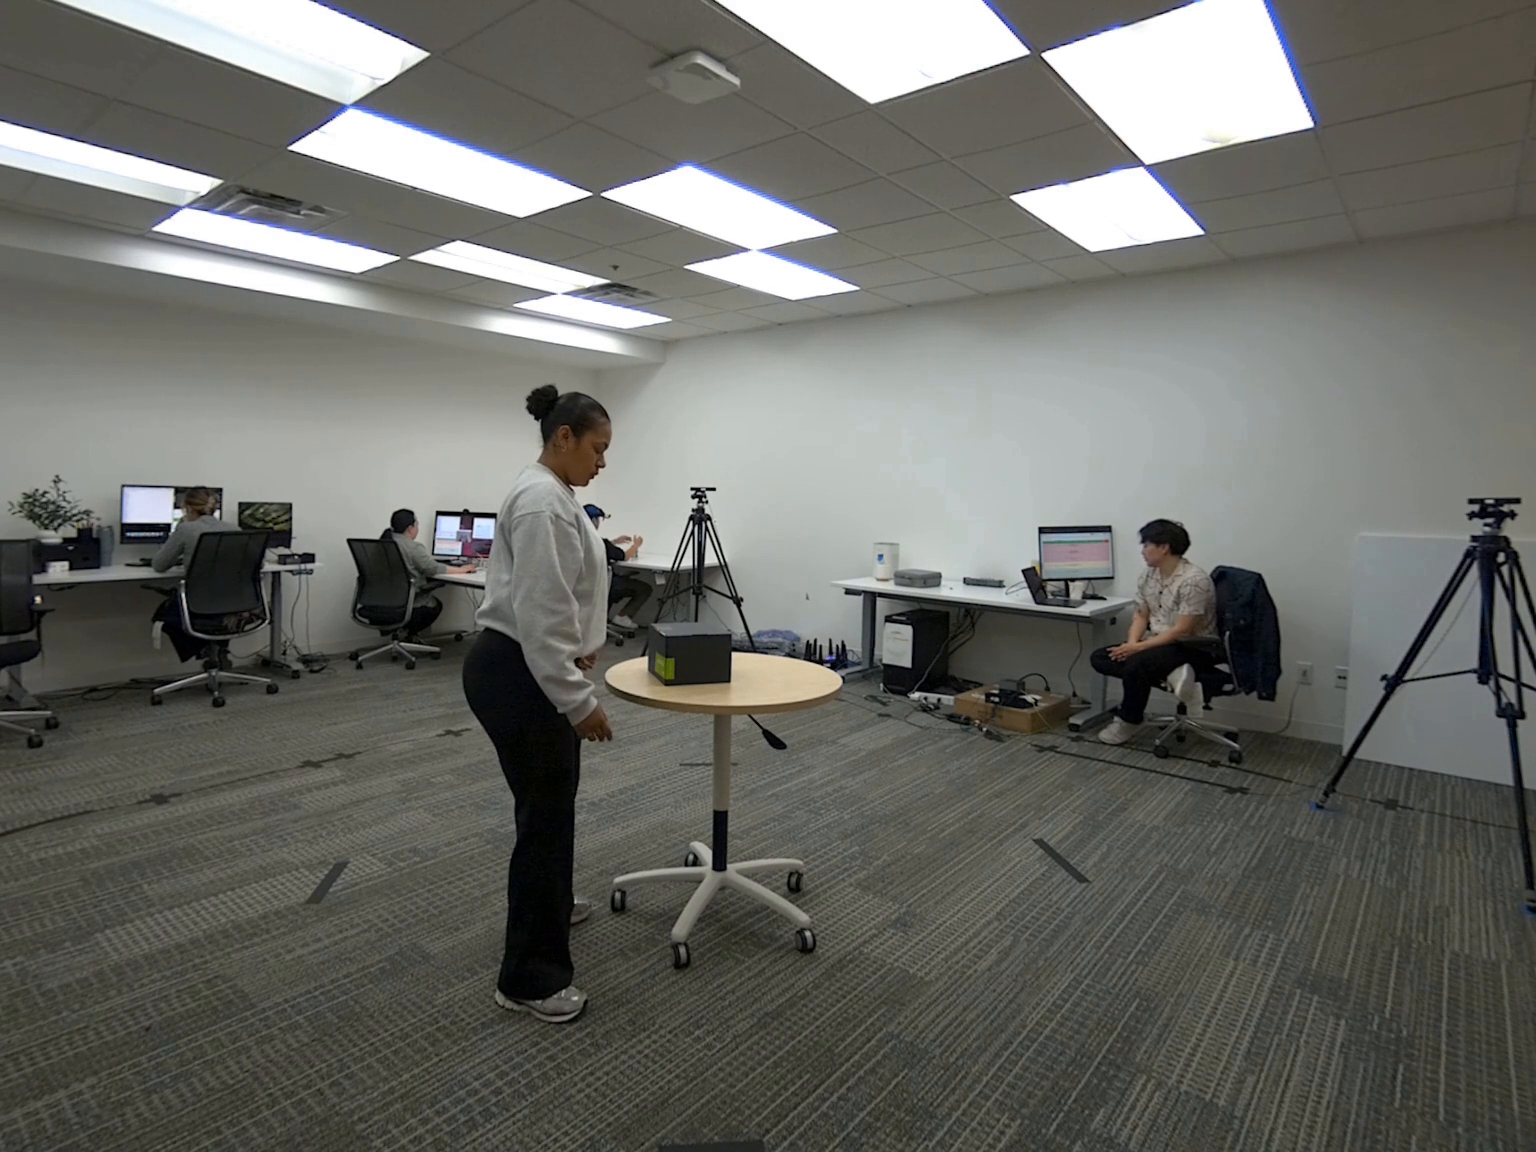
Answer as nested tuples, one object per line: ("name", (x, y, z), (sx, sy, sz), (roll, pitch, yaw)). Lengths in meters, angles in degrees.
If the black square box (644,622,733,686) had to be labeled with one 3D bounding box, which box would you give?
("black square box", (-0.264, 0.239, 2.721), (0.213, 0.155, 0.233), (0, 6, -19))
